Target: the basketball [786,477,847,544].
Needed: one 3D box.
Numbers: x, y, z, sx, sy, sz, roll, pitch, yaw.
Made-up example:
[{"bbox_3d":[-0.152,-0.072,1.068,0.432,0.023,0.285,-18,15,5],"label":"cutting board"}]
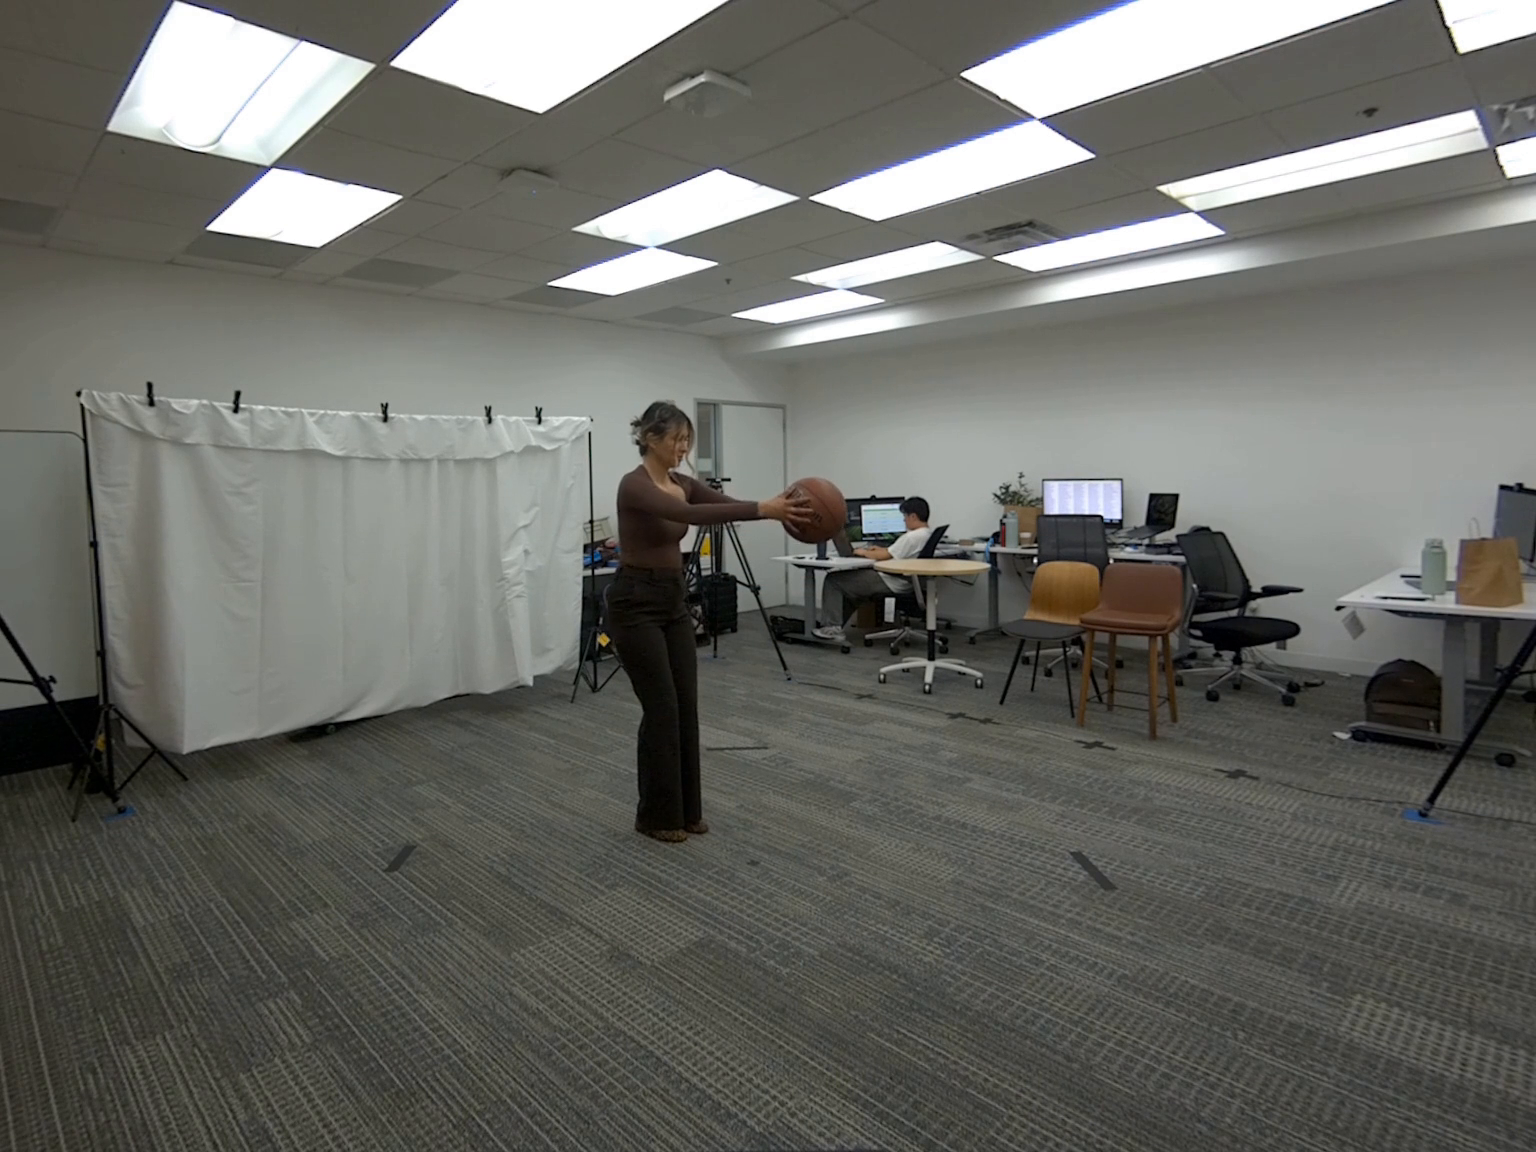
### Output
[{"bbox_3d":[0.161,-0.224,3.029,0.236,0.235,0.237,-1,5,-2],"label":"basketball"}]
